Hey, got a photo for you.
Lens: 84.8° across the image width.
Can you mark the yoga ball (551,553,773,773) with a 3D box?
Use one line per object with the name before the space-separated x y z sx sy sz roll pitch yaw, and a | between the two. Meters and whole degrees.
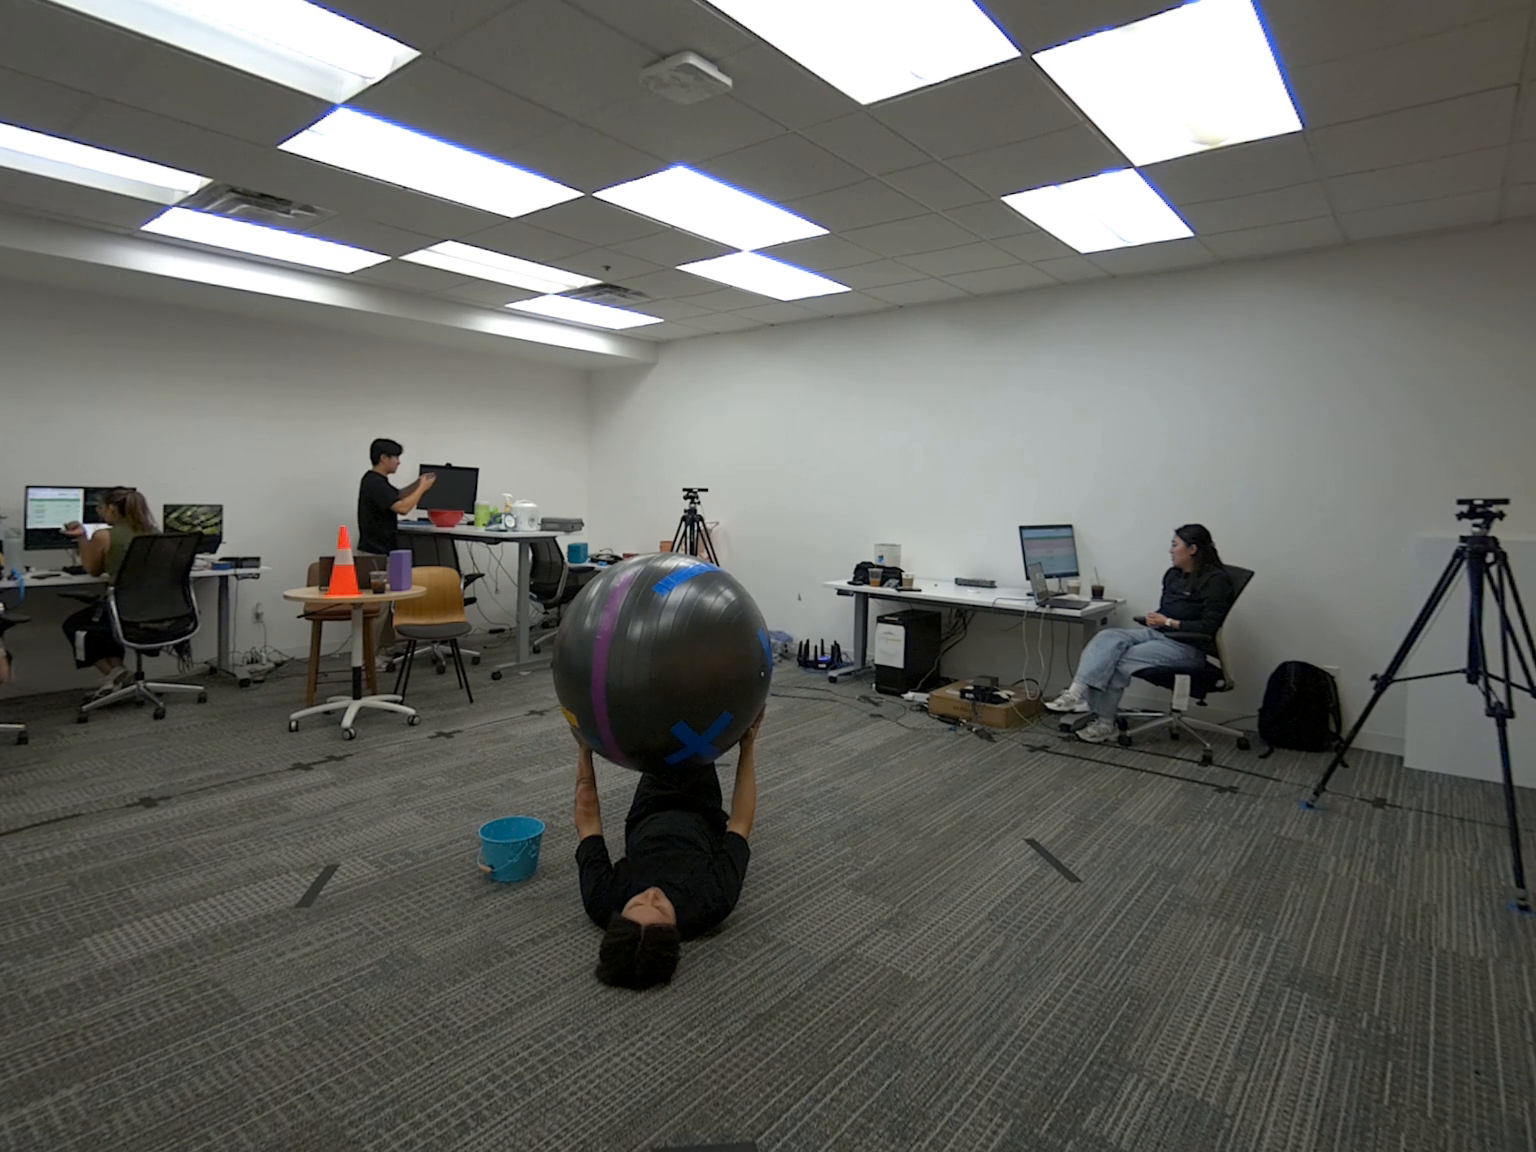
yoga ball | -0.370 0.301 2.955 0.757 0.755 0.762 1 4 -2
